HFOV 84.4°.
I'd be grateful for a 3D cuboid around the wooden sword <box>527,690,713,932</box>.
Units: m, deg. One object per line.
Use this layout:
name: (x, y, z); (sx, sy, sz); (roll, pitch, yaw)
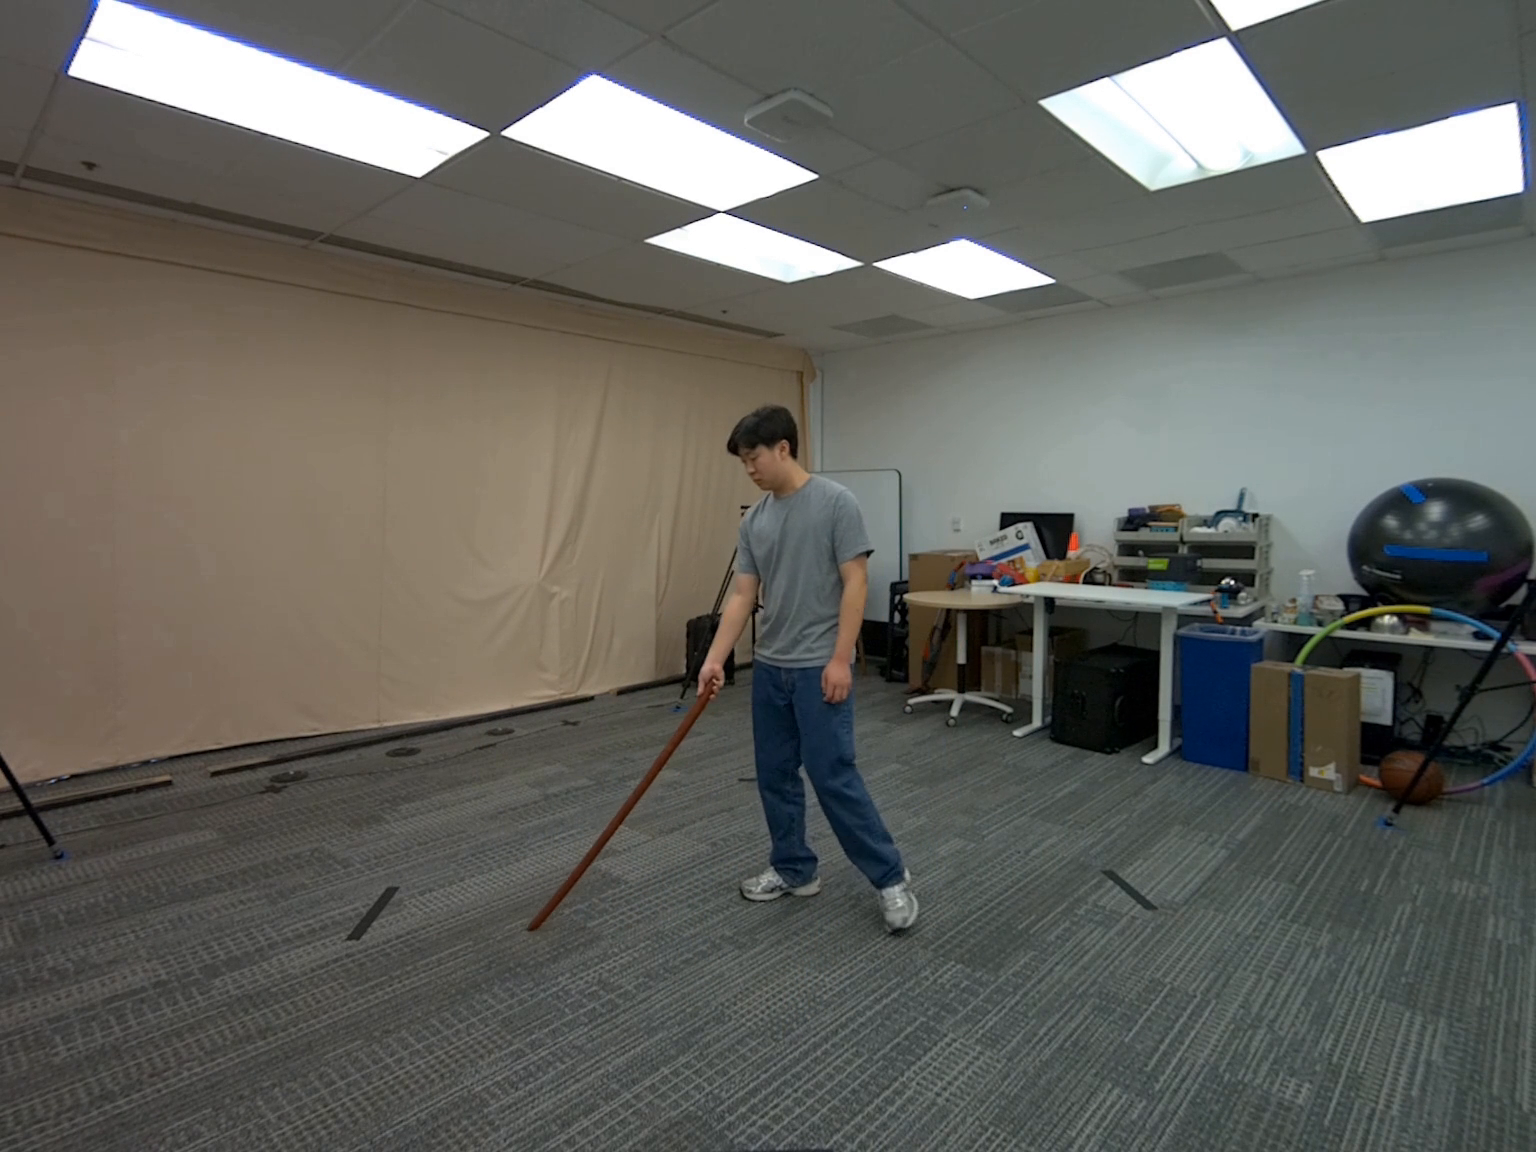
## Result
wooden sword: (-0.474, 0.773, 2.826); (0.050, 1.024, 0.025); (39, -9, -24)
